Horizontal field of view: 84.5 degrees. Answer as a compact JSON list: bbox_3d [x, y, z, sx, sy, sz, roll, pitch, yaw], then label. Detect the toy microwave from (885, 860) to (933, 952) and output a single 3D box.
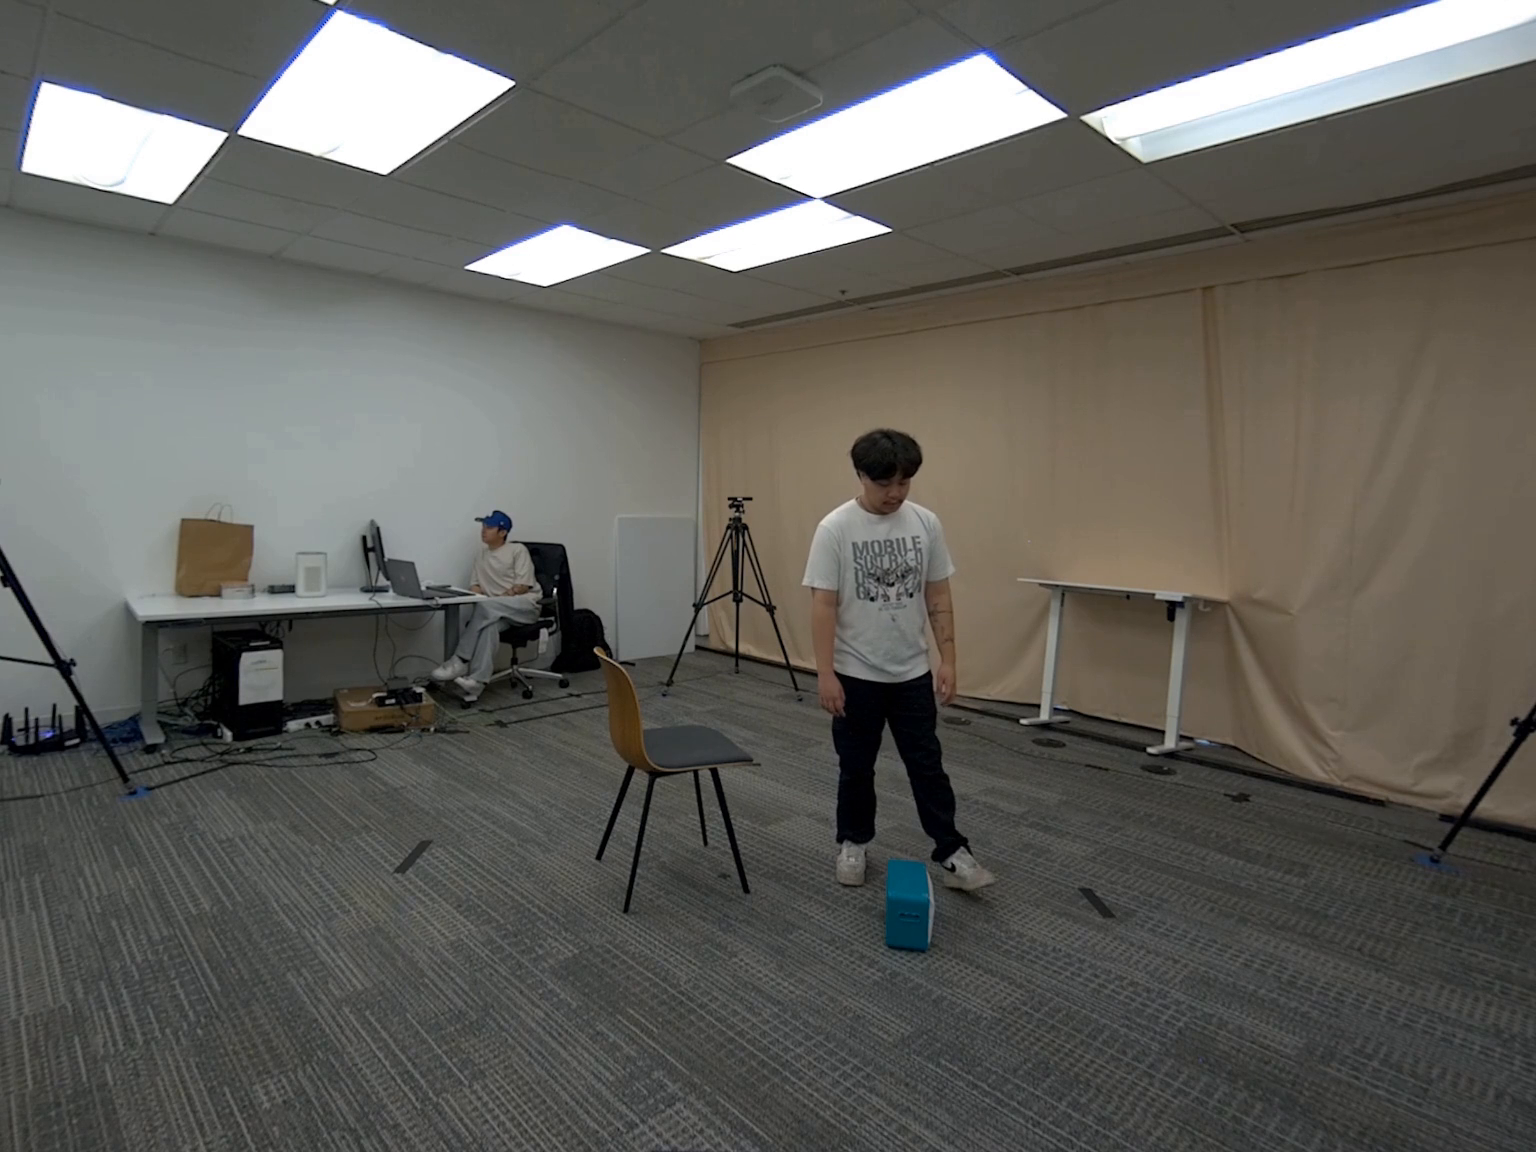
[{"bbox_3d":[0.451,1.064,2.734,0.153,0.184,0.285,-1,4,8],"label":"toy microwave"}]
